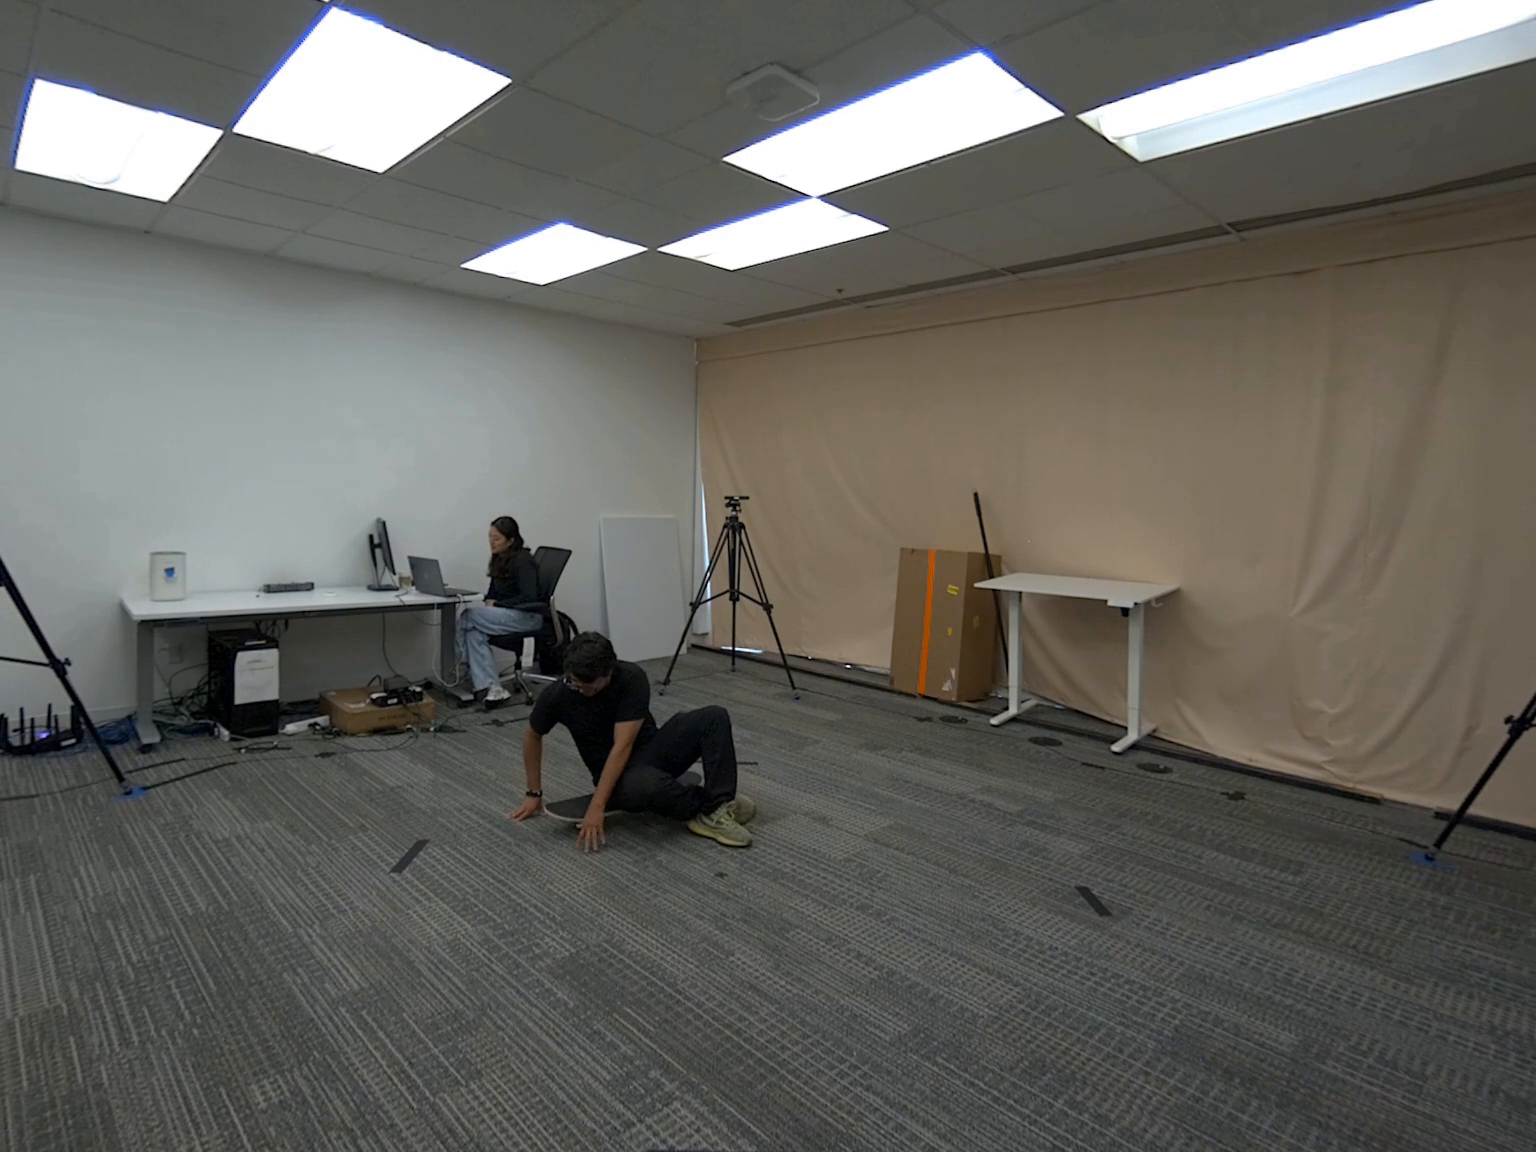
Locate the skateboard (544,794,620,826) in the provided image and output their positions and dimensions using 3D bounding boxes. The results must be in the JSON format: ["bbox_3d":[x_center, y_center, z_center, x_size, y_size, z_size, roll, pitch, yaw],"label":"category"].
[{"bbox_3d":[-0.618,0.988,3.667,0.767,0.110,0.199,-2,9,-43],"label":"skateboard"}]
